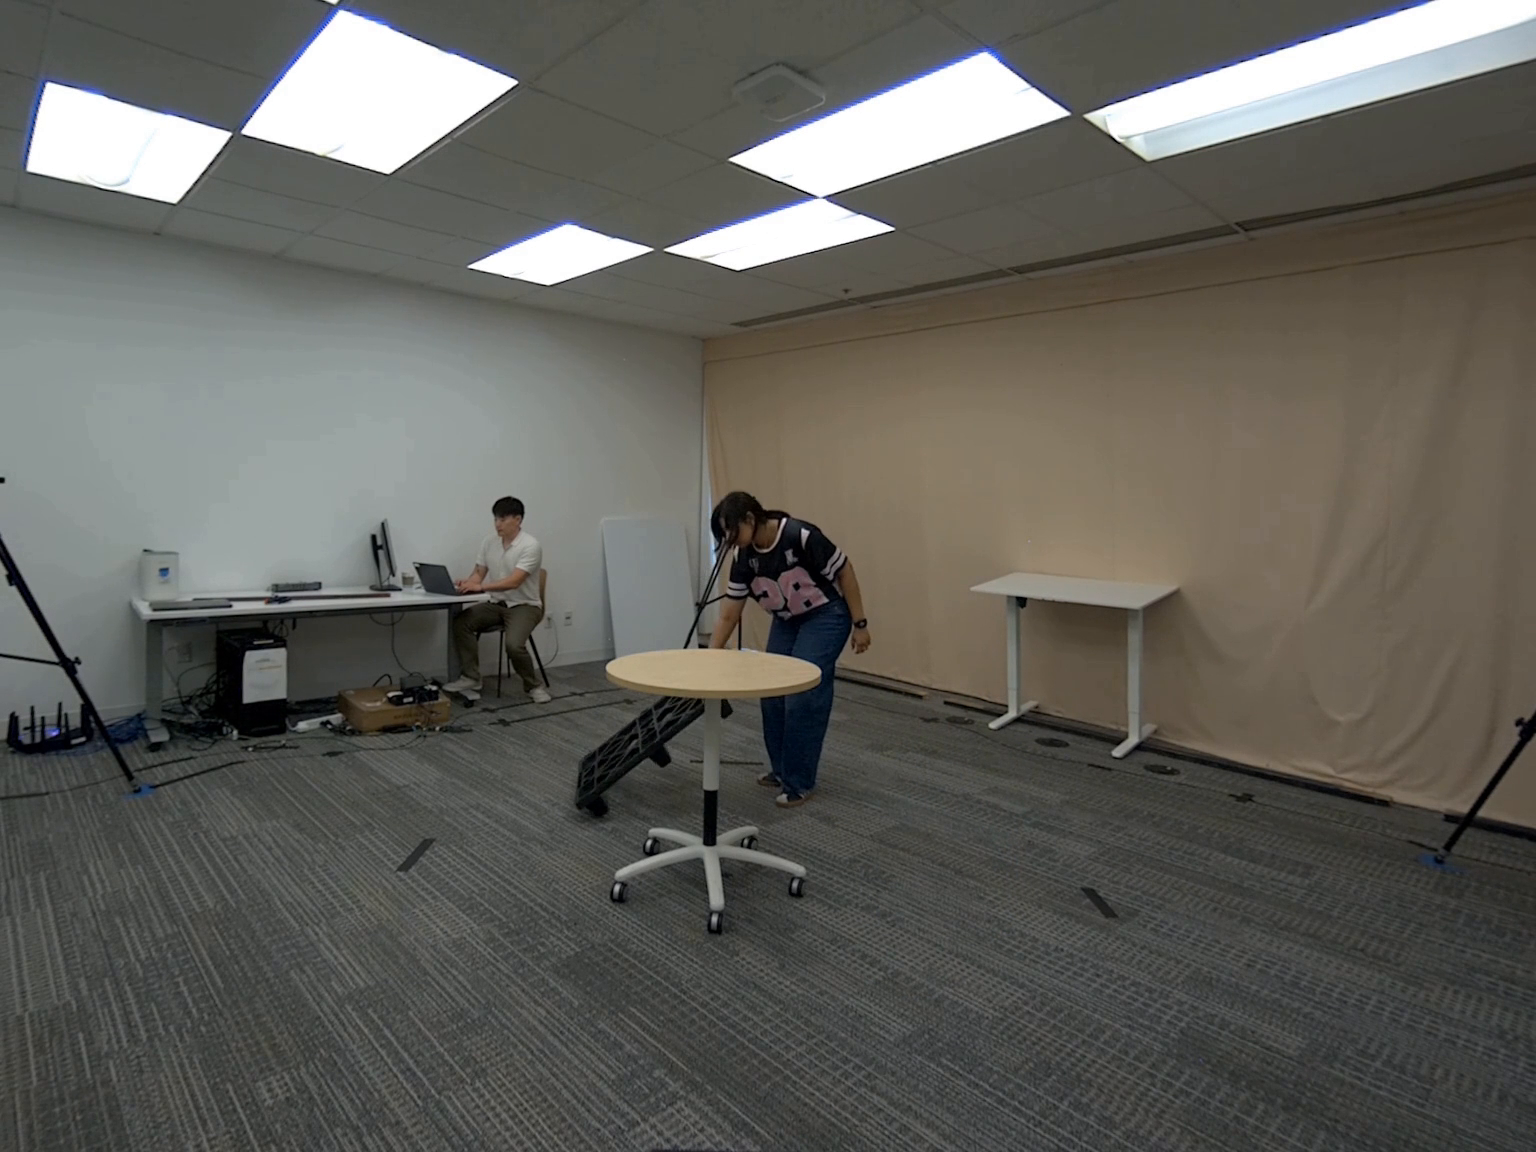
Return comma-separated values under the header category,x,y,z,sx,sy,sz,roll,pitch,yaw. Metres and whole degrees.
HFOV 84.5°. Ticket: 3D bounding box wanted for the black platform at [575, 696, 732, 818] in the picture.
category,x,y,z,sx,sy,sz,roll,pitch,yaw
black platform,-0.521,0.741,3.877,0.805,0.142,0.612,-39,12,-4
